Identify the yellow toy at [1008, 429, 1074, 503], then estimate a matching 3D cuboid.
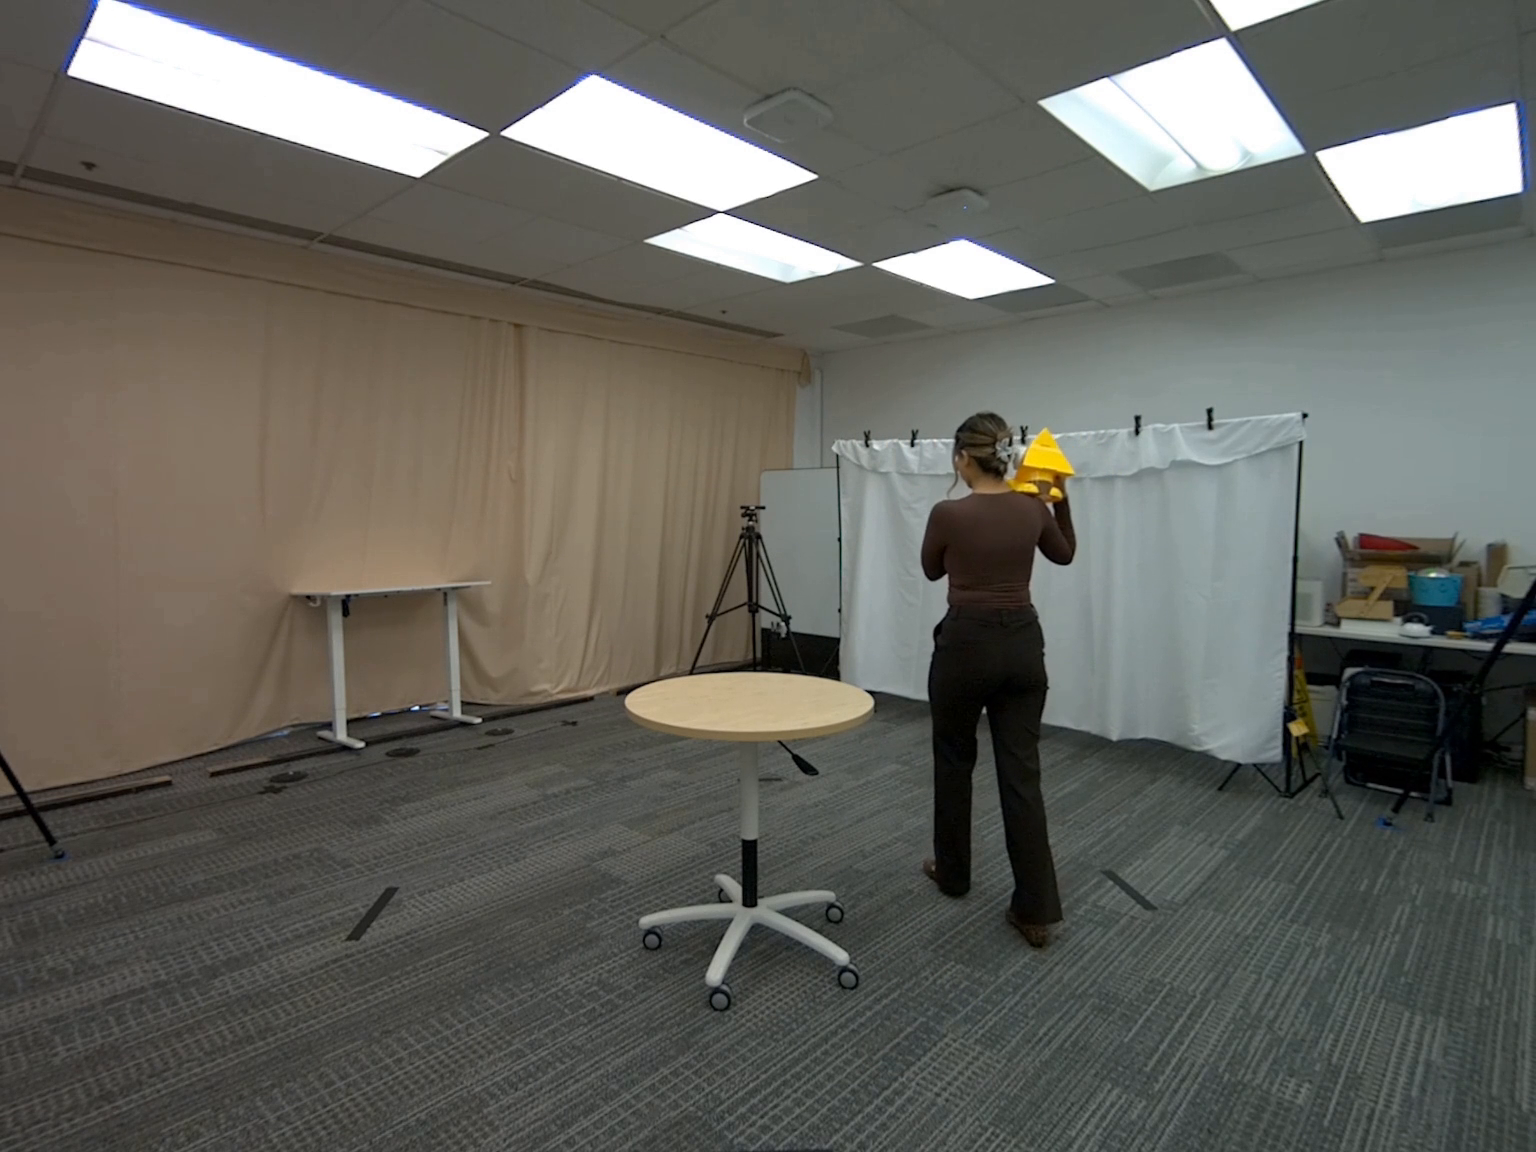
[{"bbox_3d":[0.917,-0.383,2.873,0.201,0.231,0.196,8,-8,-16],"label":"yellow toy"}]
